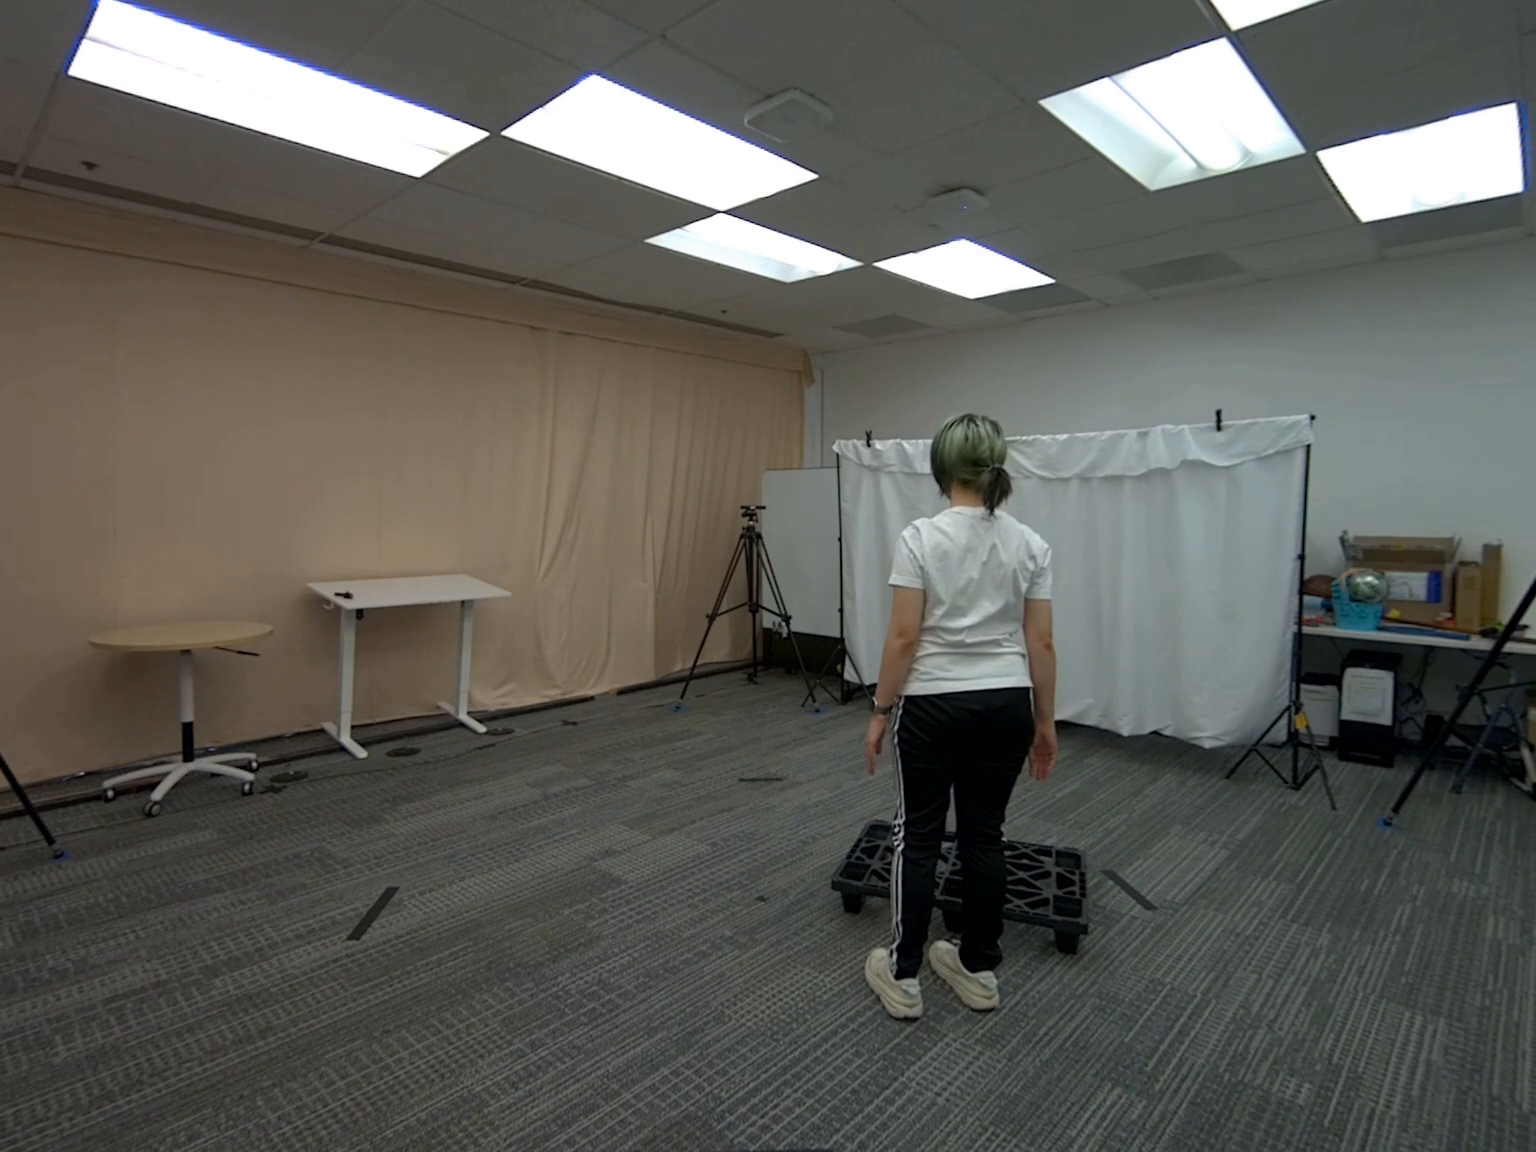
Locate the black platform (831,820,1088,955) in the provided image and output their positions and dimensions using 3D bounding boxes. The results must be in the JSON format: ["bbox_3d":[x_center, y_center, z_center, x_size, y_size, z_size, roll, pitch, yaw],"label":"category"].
[{"bbox_3d":[0.689,1.075,2.946,0.824,0.143,0.593,1,5,21],"label":"black platform"}]
